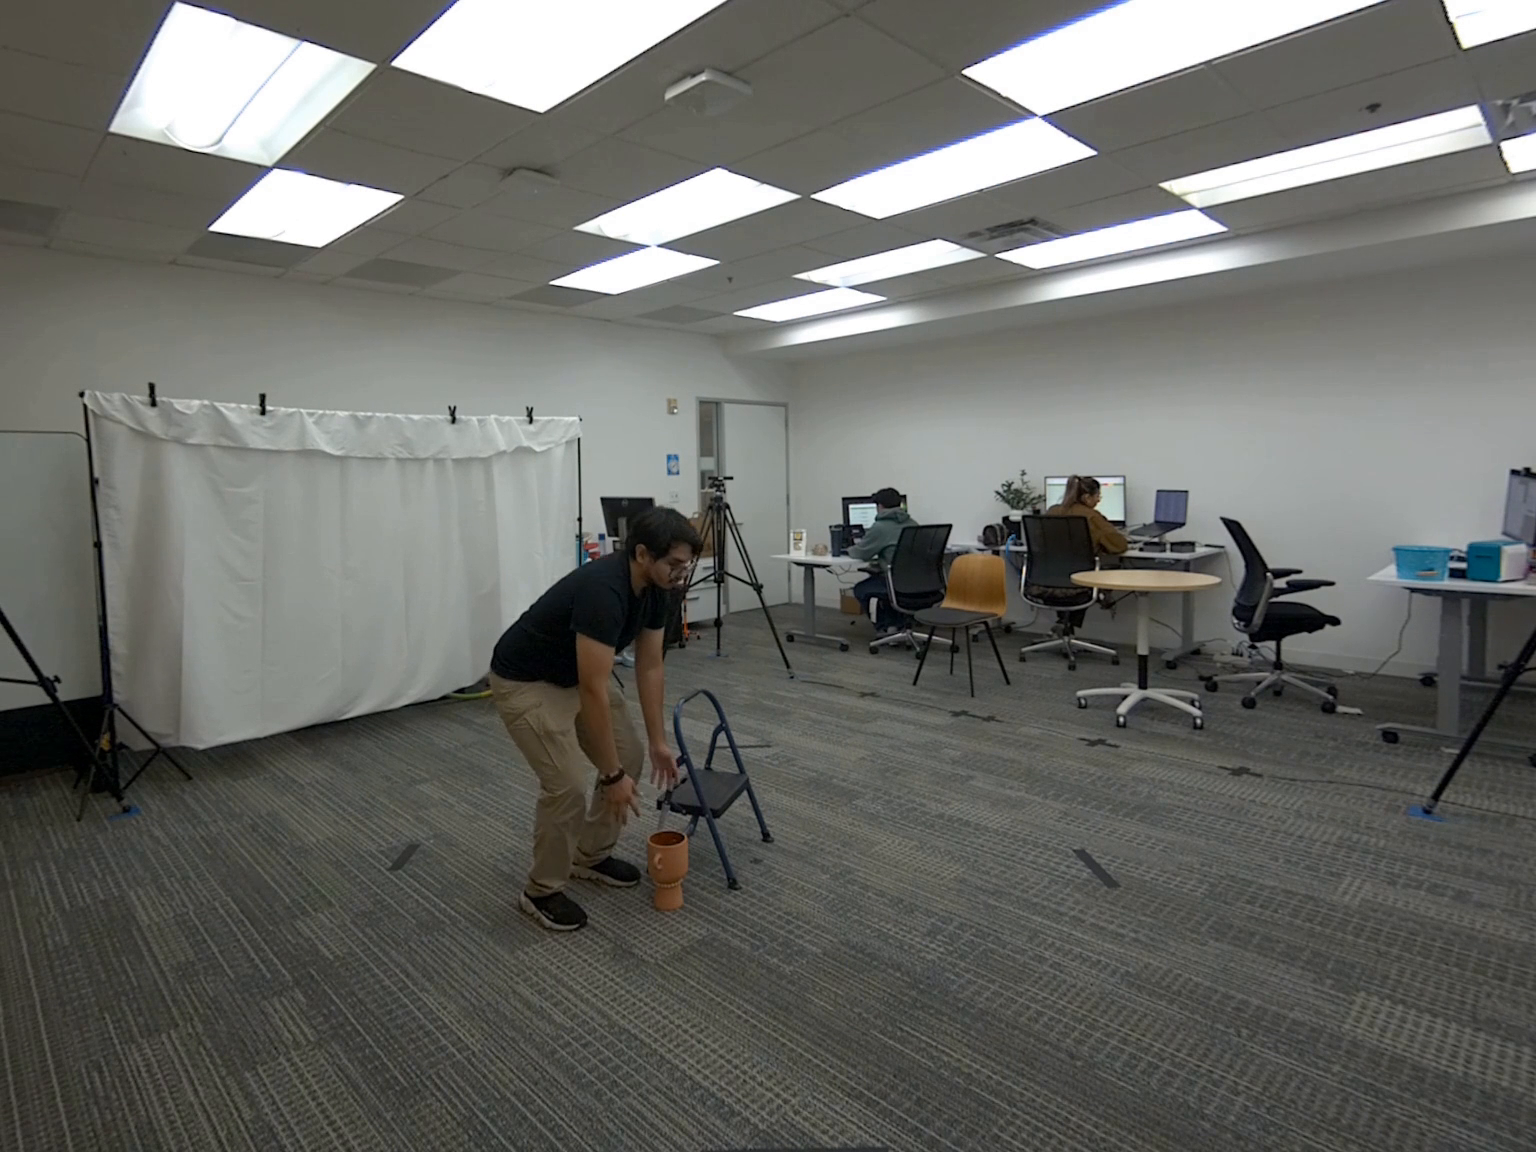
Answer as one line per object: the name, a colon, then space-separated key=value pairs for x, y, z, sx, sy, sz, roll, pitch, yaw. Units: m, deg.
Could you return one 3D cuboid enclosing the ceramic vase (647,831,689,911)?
ceramic vase: x=-0.332 y=0.971 z=2.802 sx=0.155 sy=0.219 sz=0.138 roll=-4 pitch=5 yaw=-31
